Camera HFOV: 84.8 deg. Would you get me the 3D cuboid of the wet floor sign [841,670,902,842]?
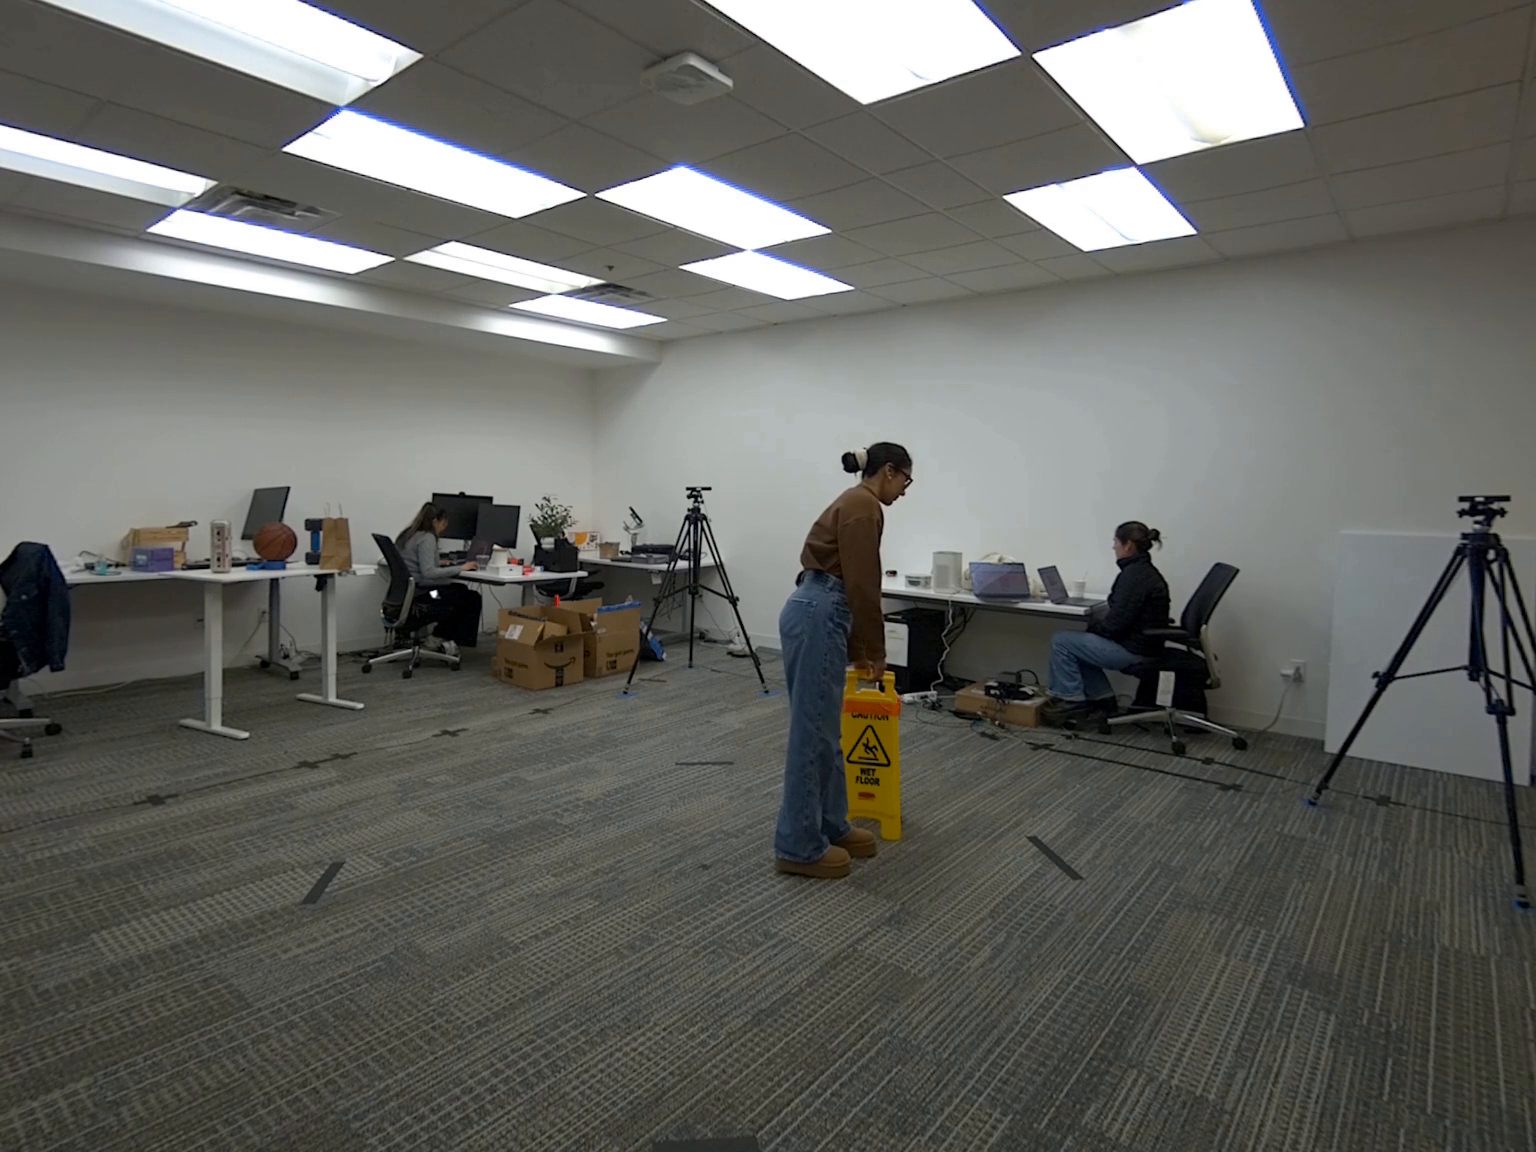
[{"bbox_3d":[0.409,0.707,3.540,0.286,0.644,0.287,3,4,9],"label":"wet floor sign"}]
